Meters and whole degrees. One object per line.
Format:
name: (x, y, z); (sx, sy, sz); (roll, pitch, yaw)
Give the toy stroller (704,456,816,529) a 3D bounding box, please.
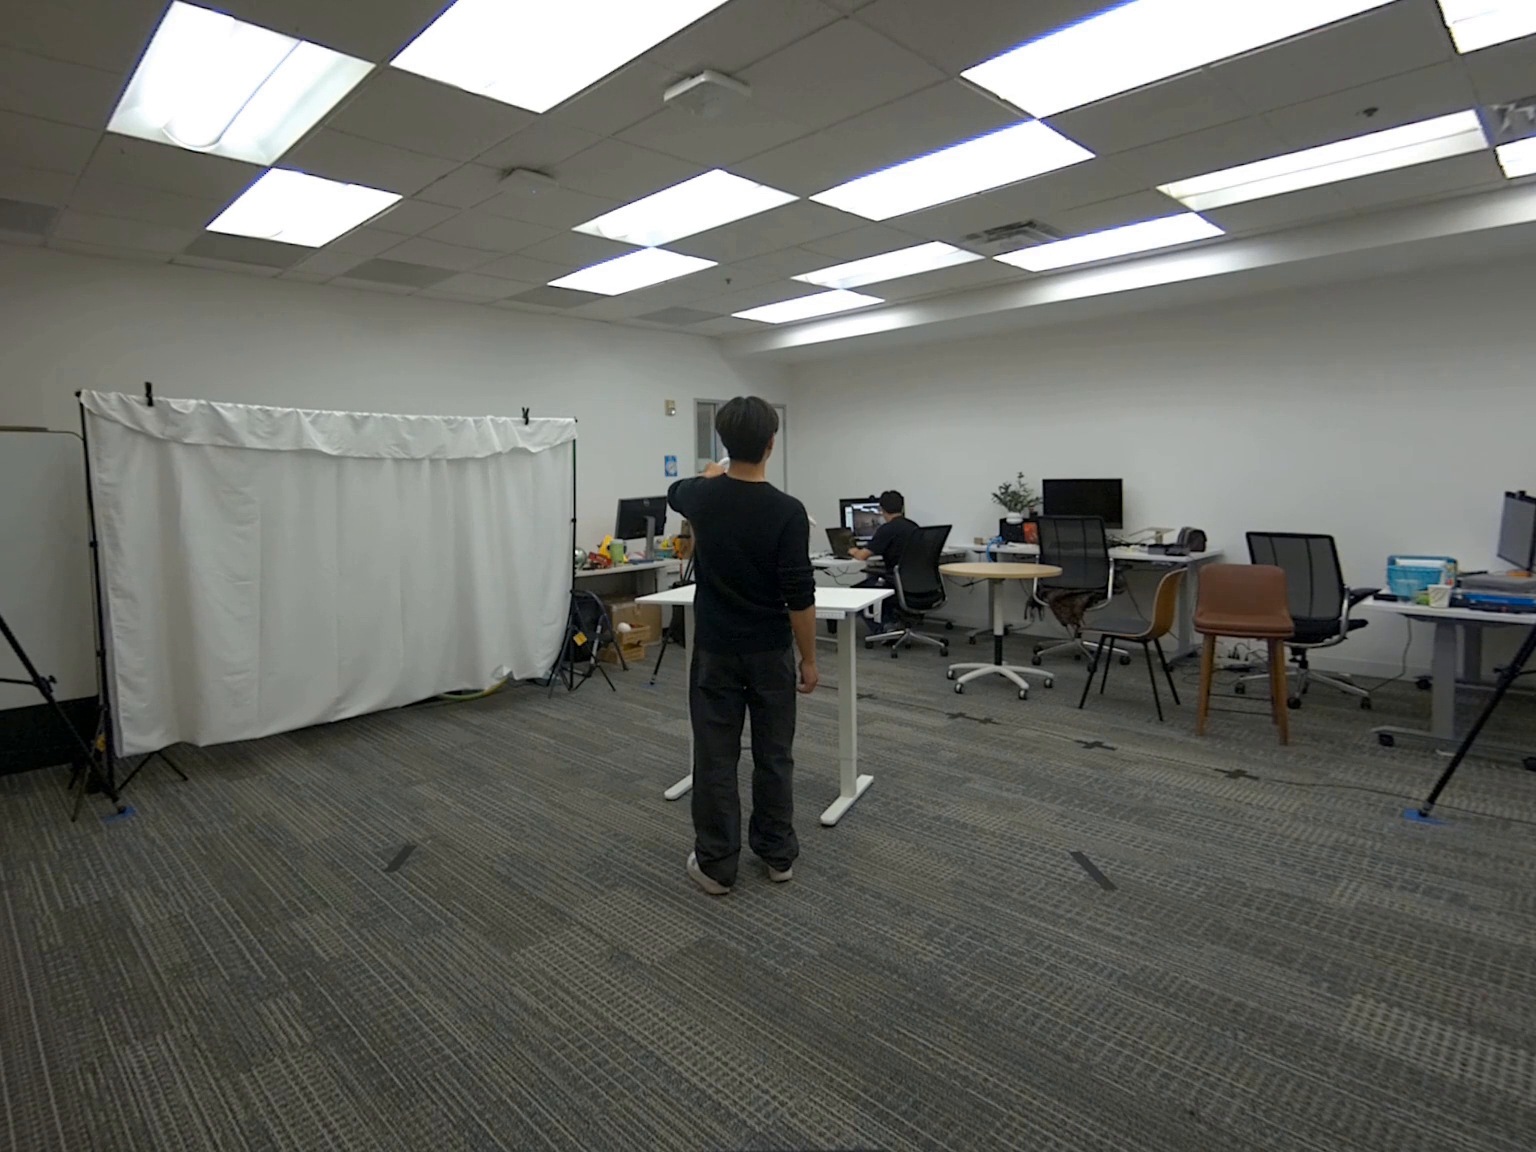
toy stroller: (-0.038, -0.268, 3.690); (0.535, 0.281, 0.342); (43, 7, -1)
